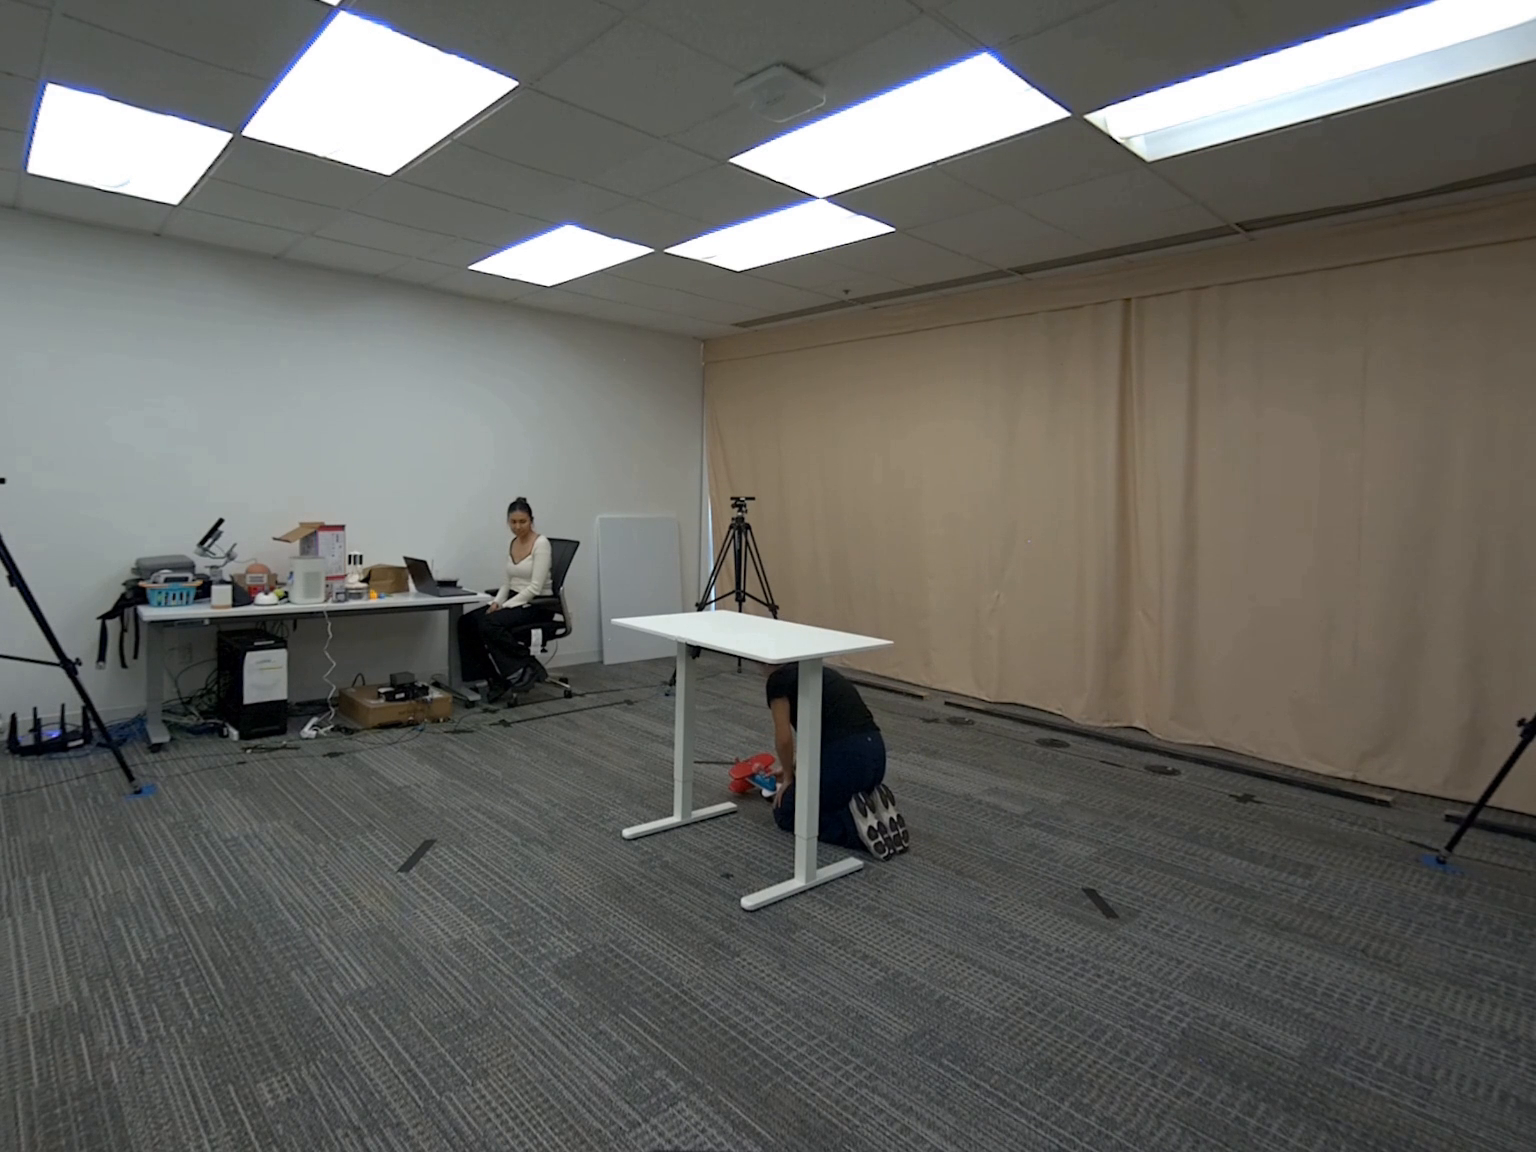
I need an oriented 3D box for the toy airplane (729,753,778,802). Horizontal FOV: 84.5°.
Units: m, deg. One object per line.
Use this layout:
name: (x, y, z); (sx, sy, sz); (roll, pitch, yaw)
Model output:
toy airplane: (-0.049, 0.951, 3.959); (0.263, 0.155, 0.249); (-2, 13, 23)
